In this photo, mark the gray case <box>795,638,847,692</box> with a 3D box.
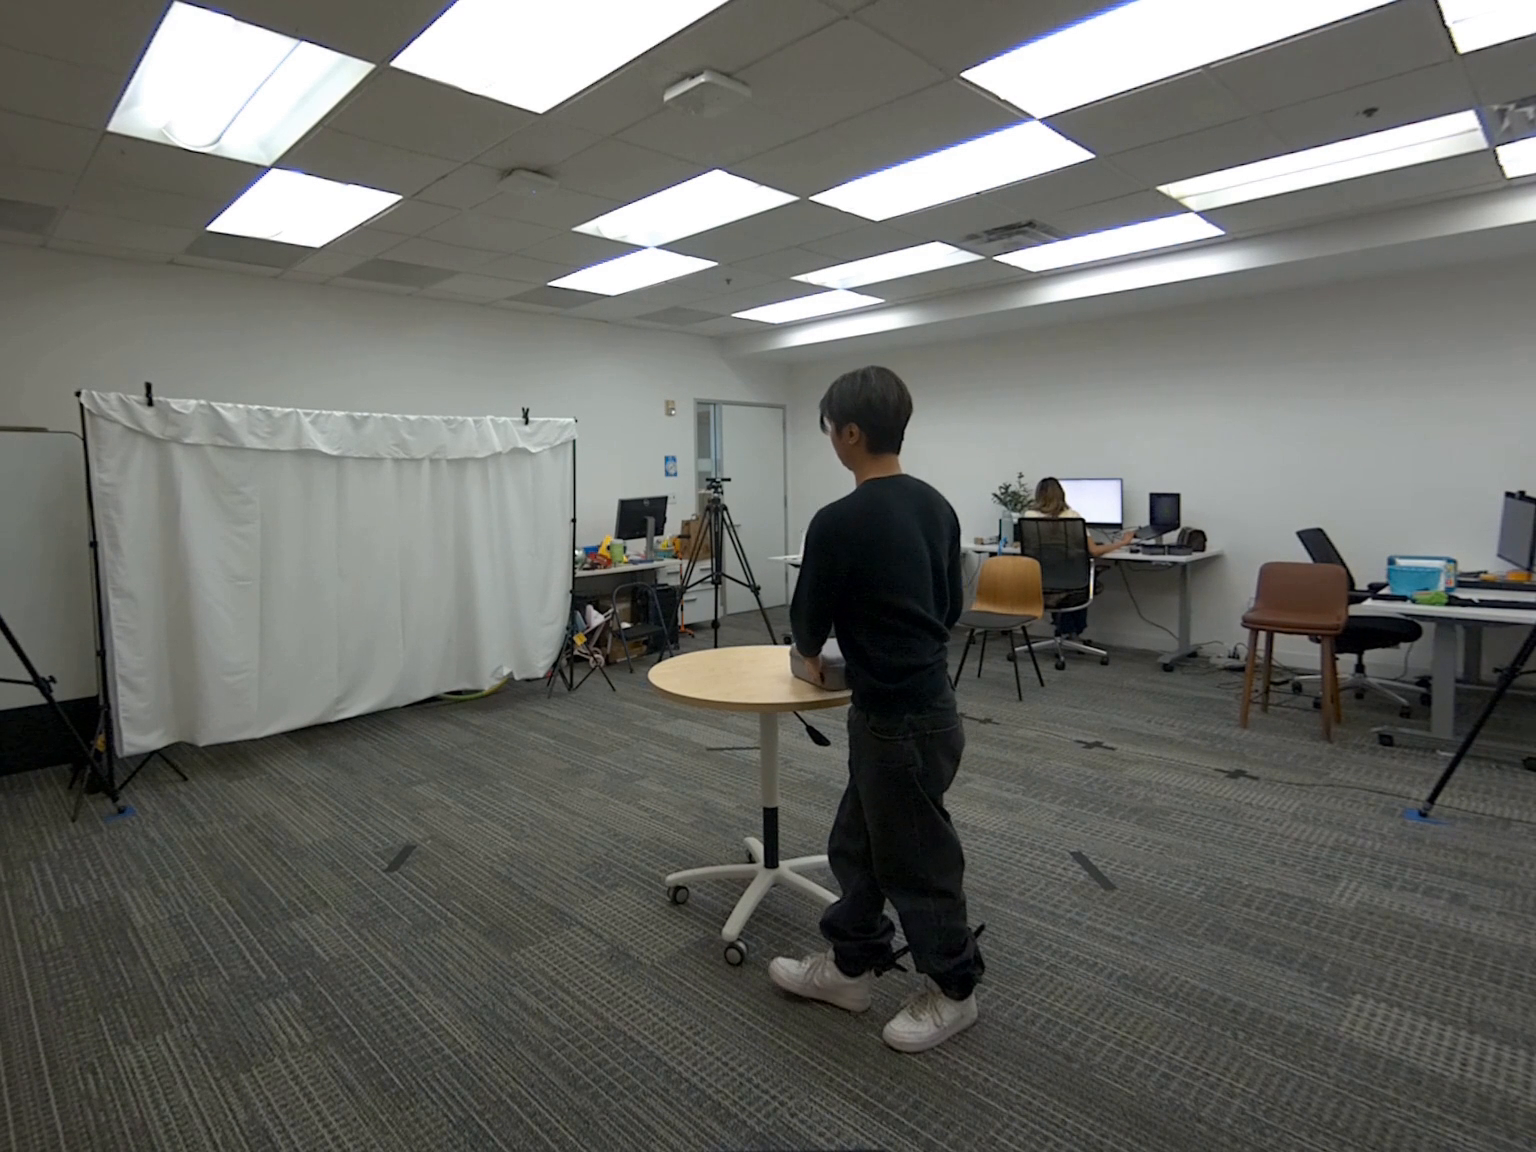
[{"bbox_3d":[0.229,0.263,2.589,0.252,0.104,0.267,-3,7,-23],"label":"gray case"}]
